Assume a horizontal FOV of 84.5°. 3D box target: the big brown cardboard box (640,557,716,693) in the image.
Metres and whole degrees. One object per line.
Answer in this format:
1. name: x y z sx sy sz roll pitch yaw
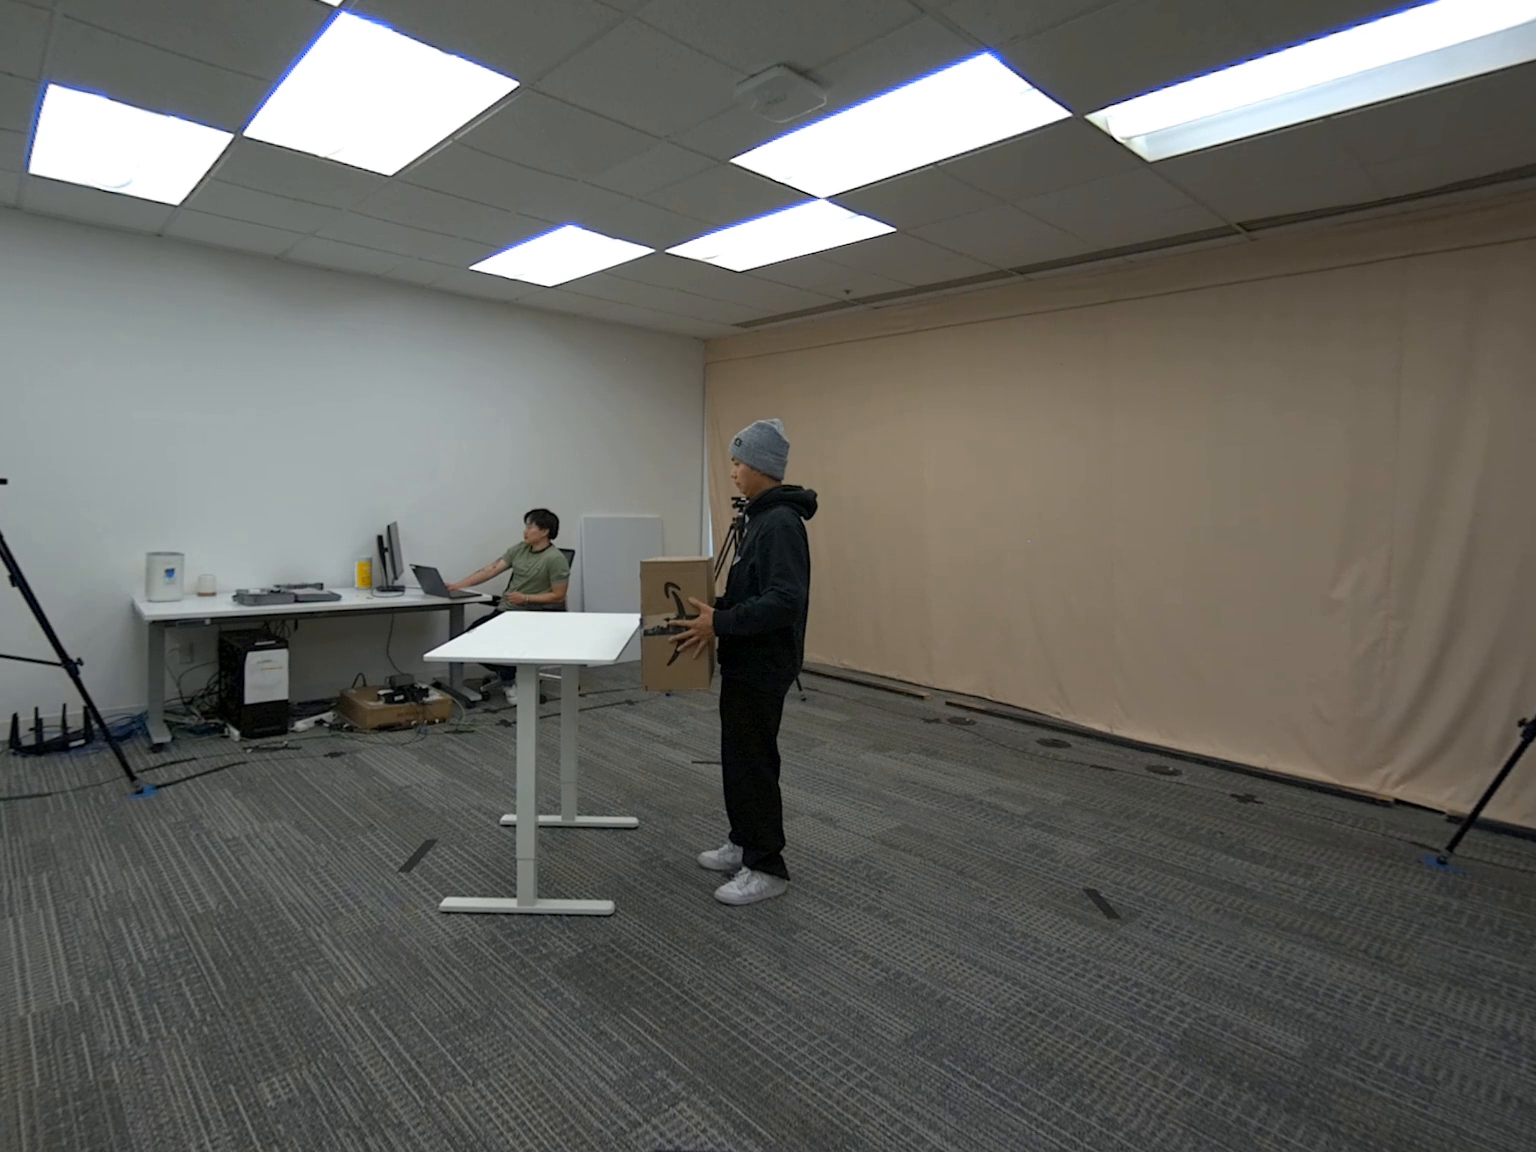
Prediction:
1. big brown cardboard box: -0.305 0.140 2.947 0.233 0.417 0.590 -1 2 -2
